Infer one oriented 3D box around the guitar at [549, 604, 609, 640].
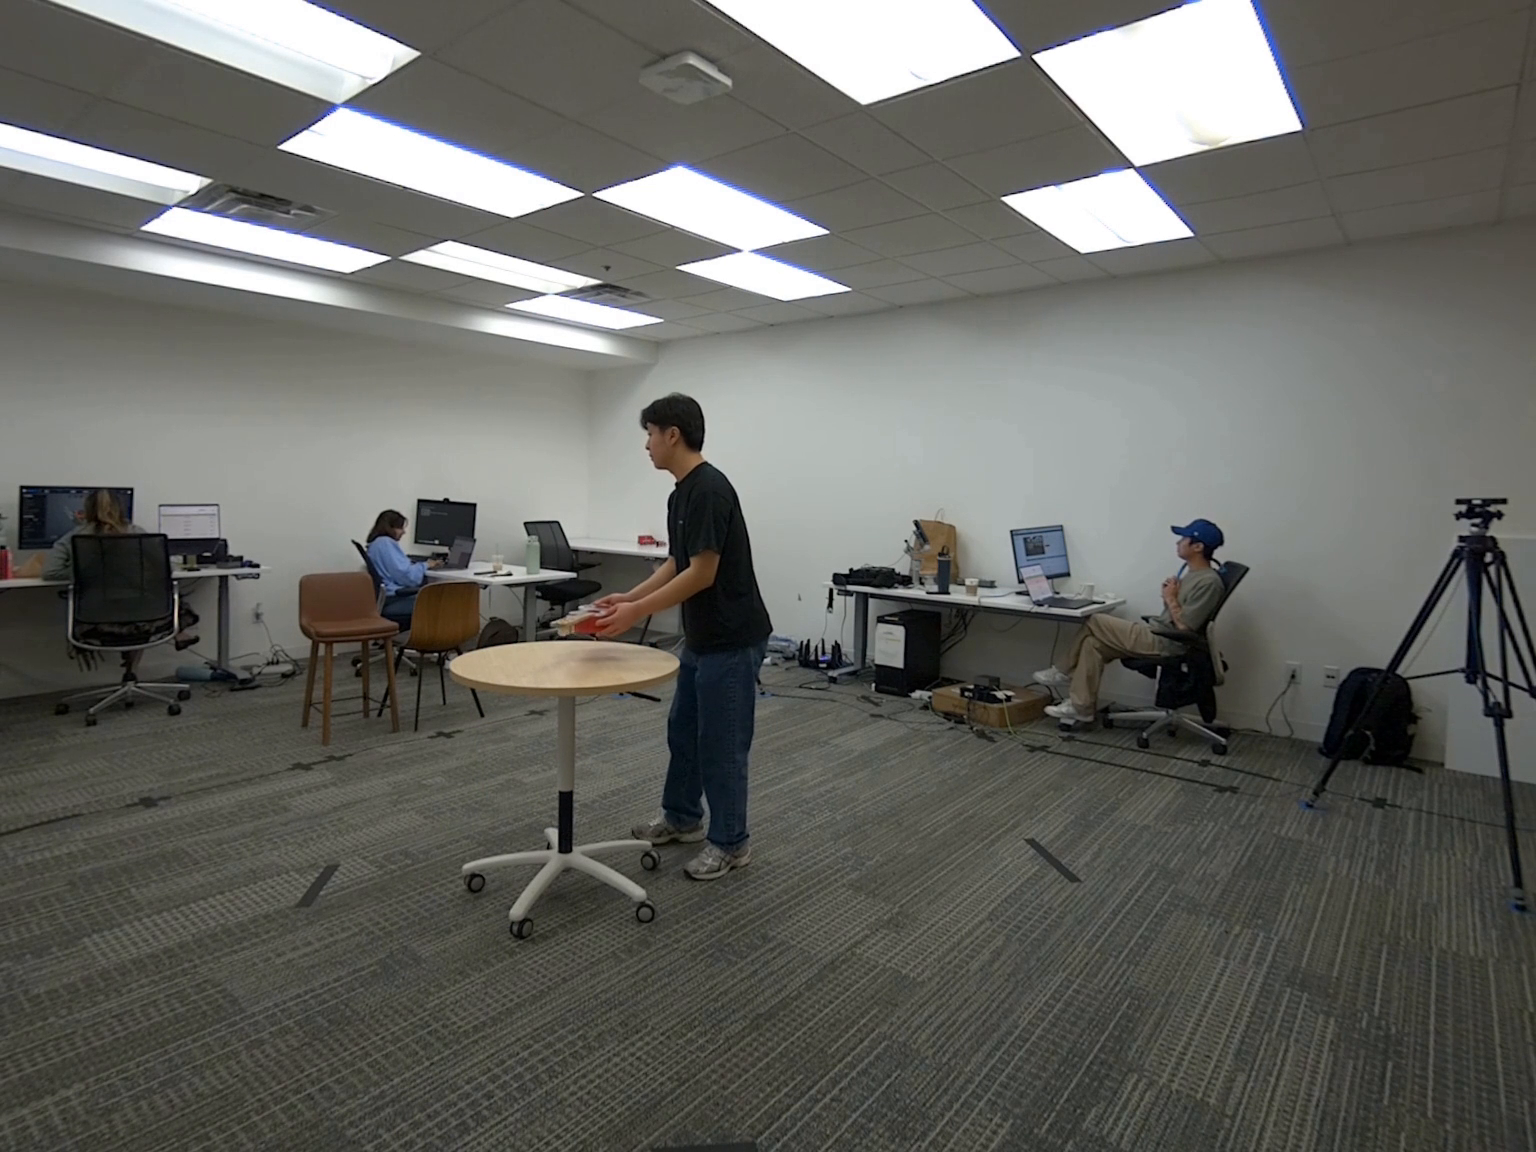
[{"bbox_3d":[-0.662,0.155,2.900,0.197,0.070,0.488,3,6,21],"label":"guitar"}]
